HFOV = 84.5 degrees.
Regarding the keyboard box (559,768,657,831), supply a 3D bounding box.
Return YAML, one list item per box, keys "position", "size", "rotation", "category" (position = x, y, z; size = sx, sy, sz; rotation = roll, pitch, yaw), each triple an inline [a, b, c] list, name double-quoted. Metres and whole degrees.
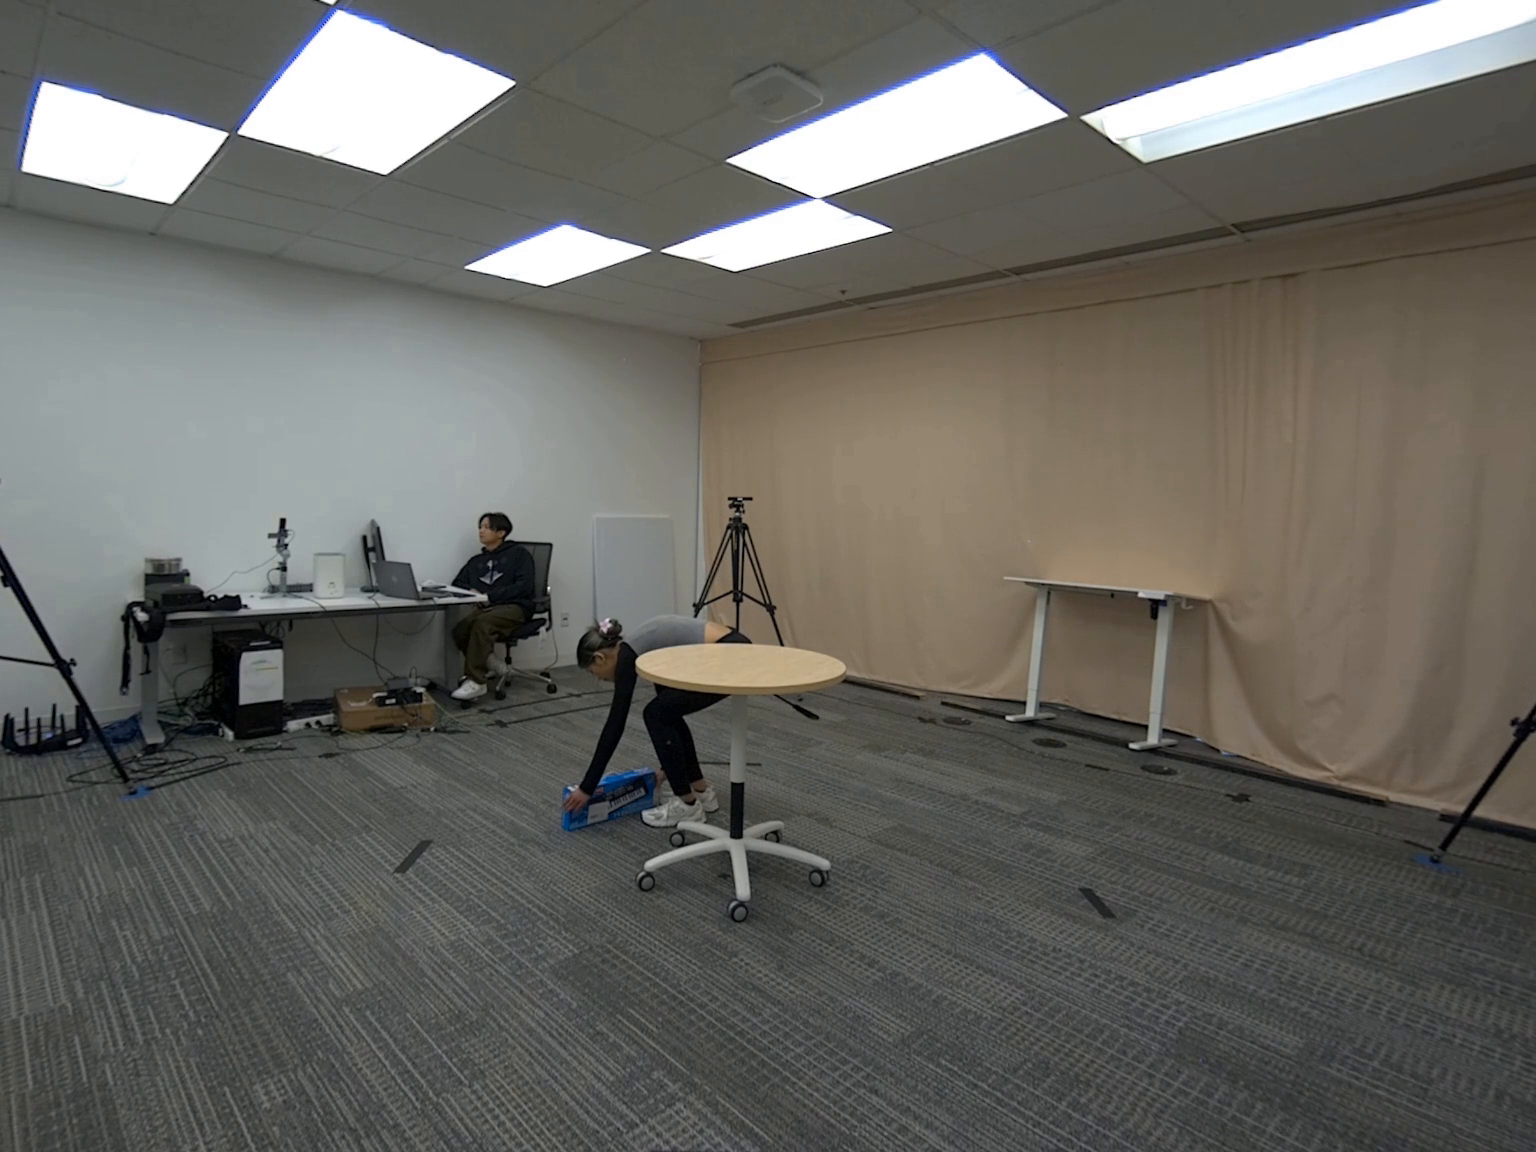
- position: [-0.692, 0.961, 3.637]
  size: [0.427, 0.175, 0.061]
  rotation: [-3, 11, -44]
  category: "keyboard box"
